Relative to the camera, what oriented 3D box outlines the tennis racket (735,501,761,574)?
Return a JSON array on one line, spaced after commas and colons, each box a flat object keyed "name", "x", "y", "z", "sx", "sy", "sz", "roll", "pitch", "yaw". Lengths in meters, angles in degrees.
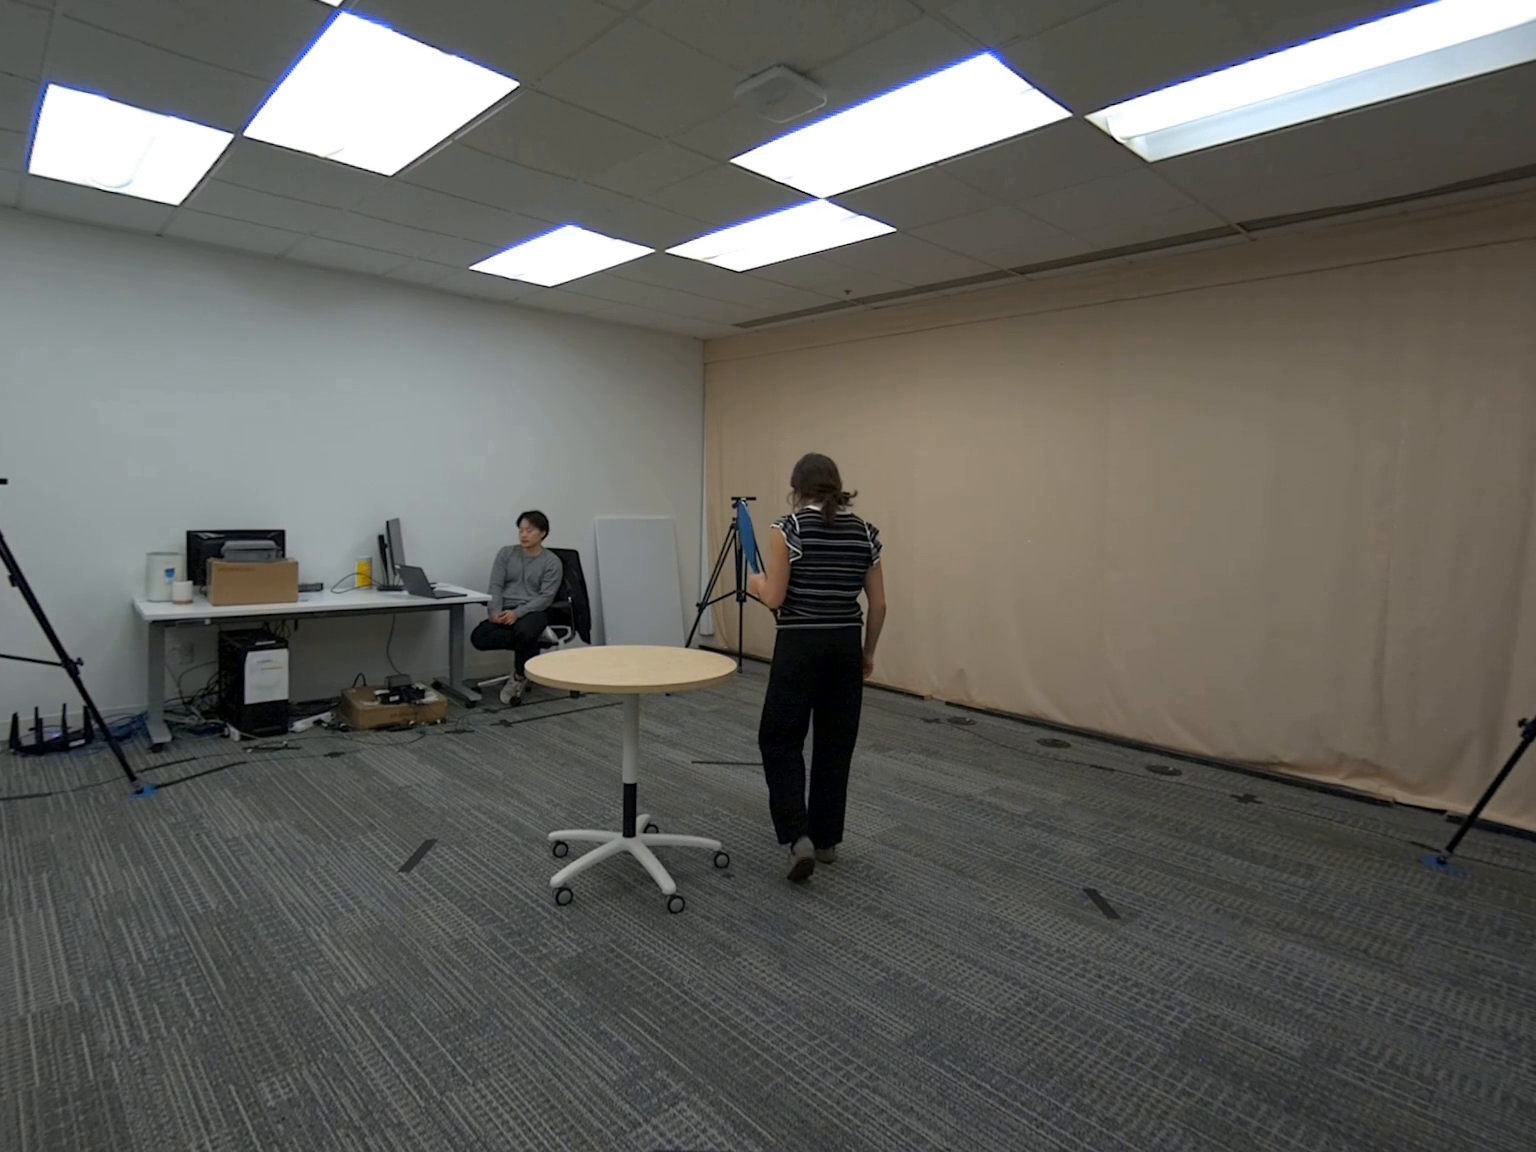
[{"name": "tennis racket", "x": -0.078, "y": -0.103, "z": 3.430, "sx": 0.031, "sy": 0.439, "sz": 0.212, "roll": -10, "pitch": -15, "yaw": -12}]
